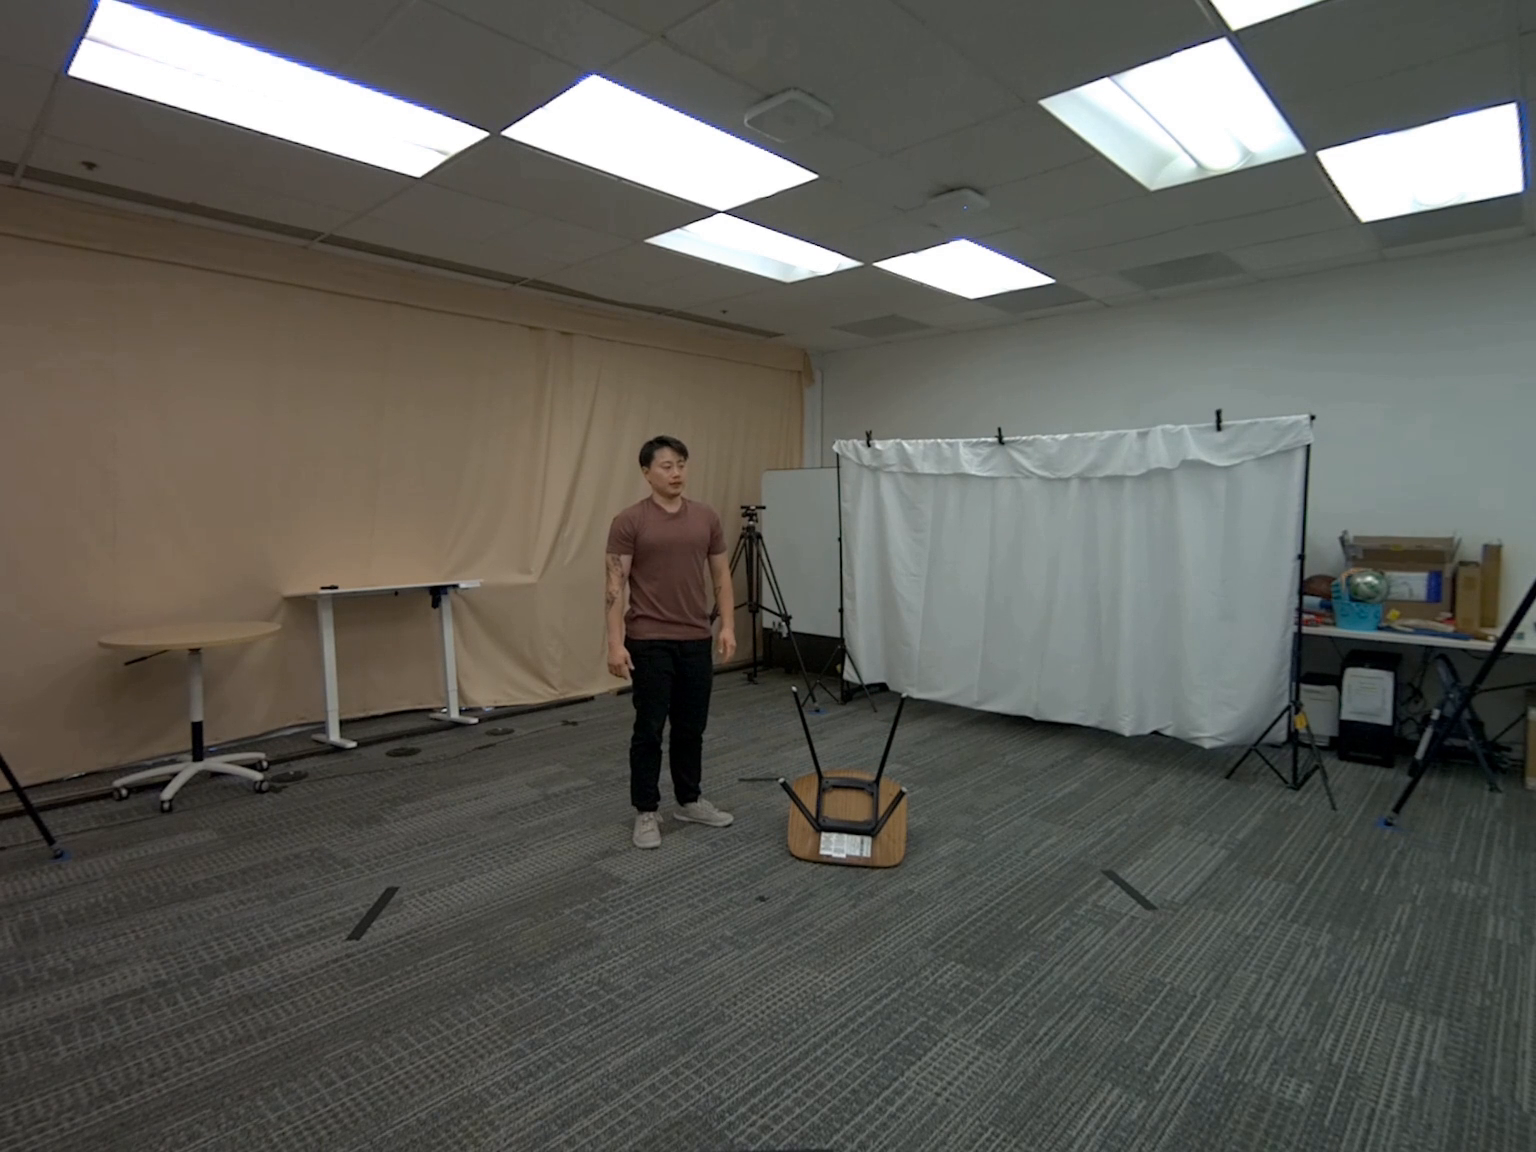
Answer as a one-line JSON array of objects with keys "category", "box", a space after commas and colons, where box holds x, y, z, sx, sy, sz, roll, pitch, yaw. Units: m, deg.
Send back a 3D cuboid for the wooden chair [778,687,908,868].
[{"category": "wooden chair", "box": [0.324, 0.936, 3.429, 0.484, 0.857, 0.529, 1, 44, 9]}]
